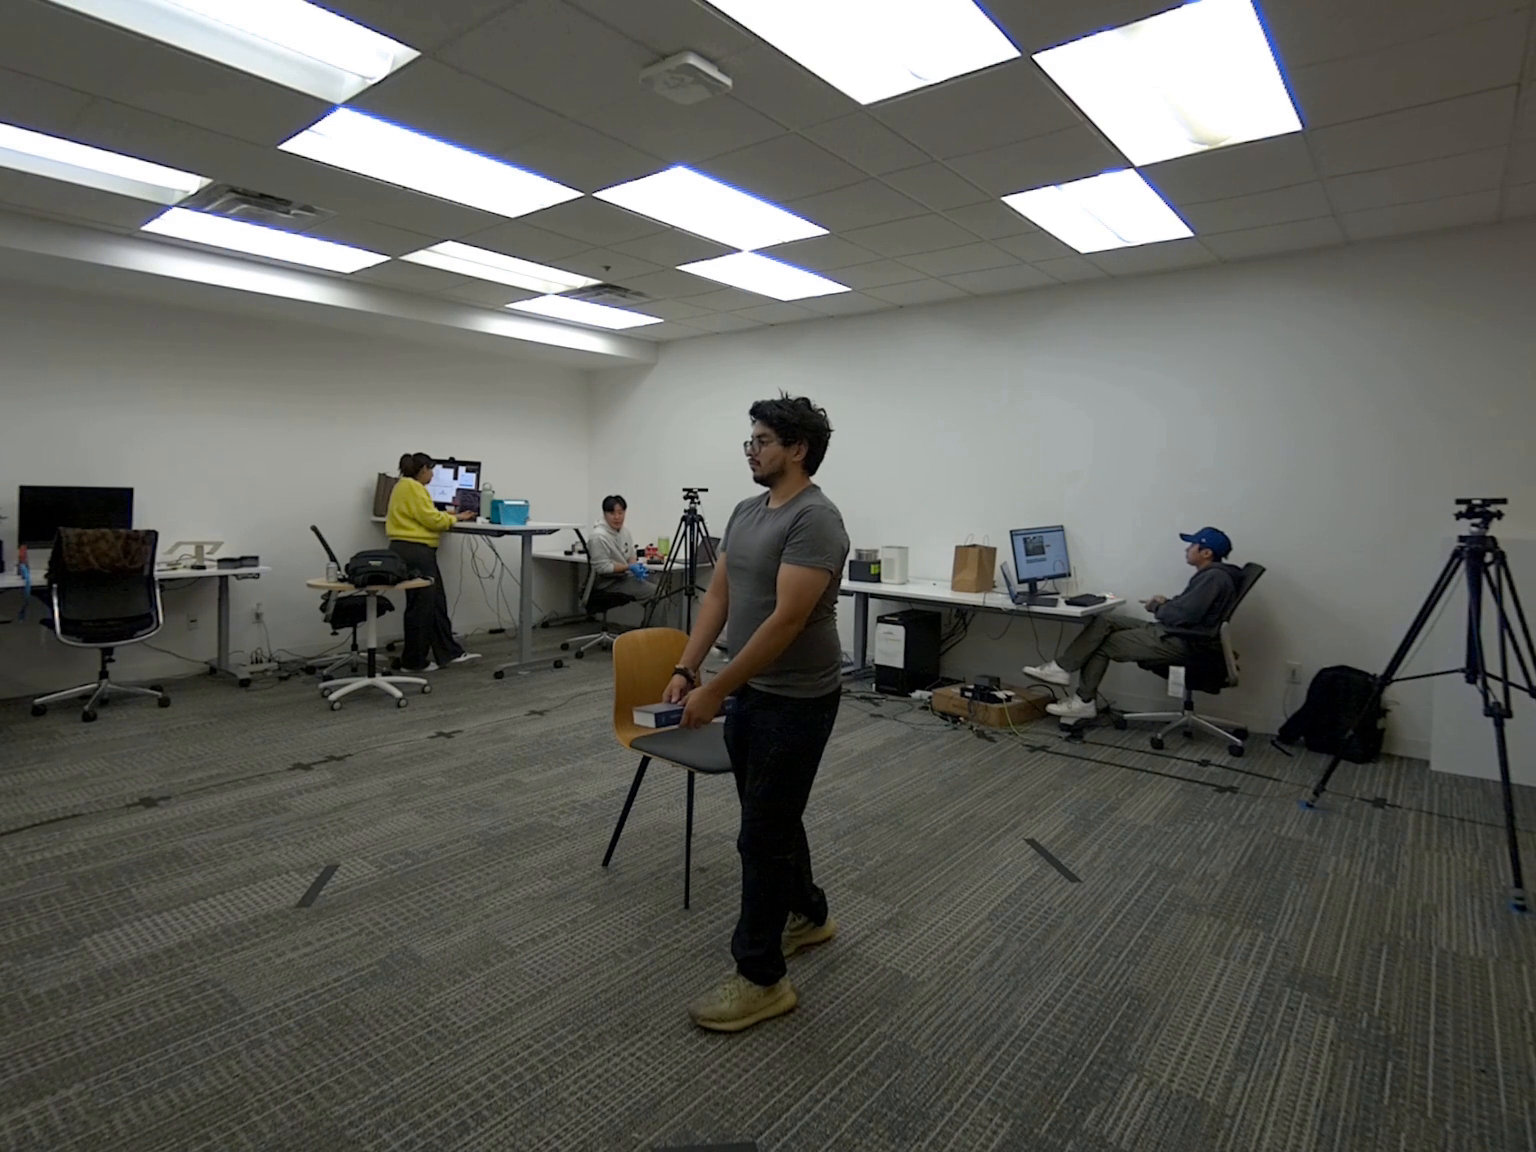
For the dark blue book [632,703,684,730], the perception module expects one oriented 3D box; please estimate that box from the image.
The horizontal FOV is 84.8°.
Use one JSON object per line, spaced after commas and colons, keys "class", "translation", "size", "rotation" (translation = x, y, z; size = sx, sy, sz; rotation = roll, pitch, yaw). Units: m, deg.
{"class": "dark blue book", "translation": [-0.230, 0.364, 2.276], "size": [0.239, 0.045, 0.167], "rotation": [-5, -2, -29]}
